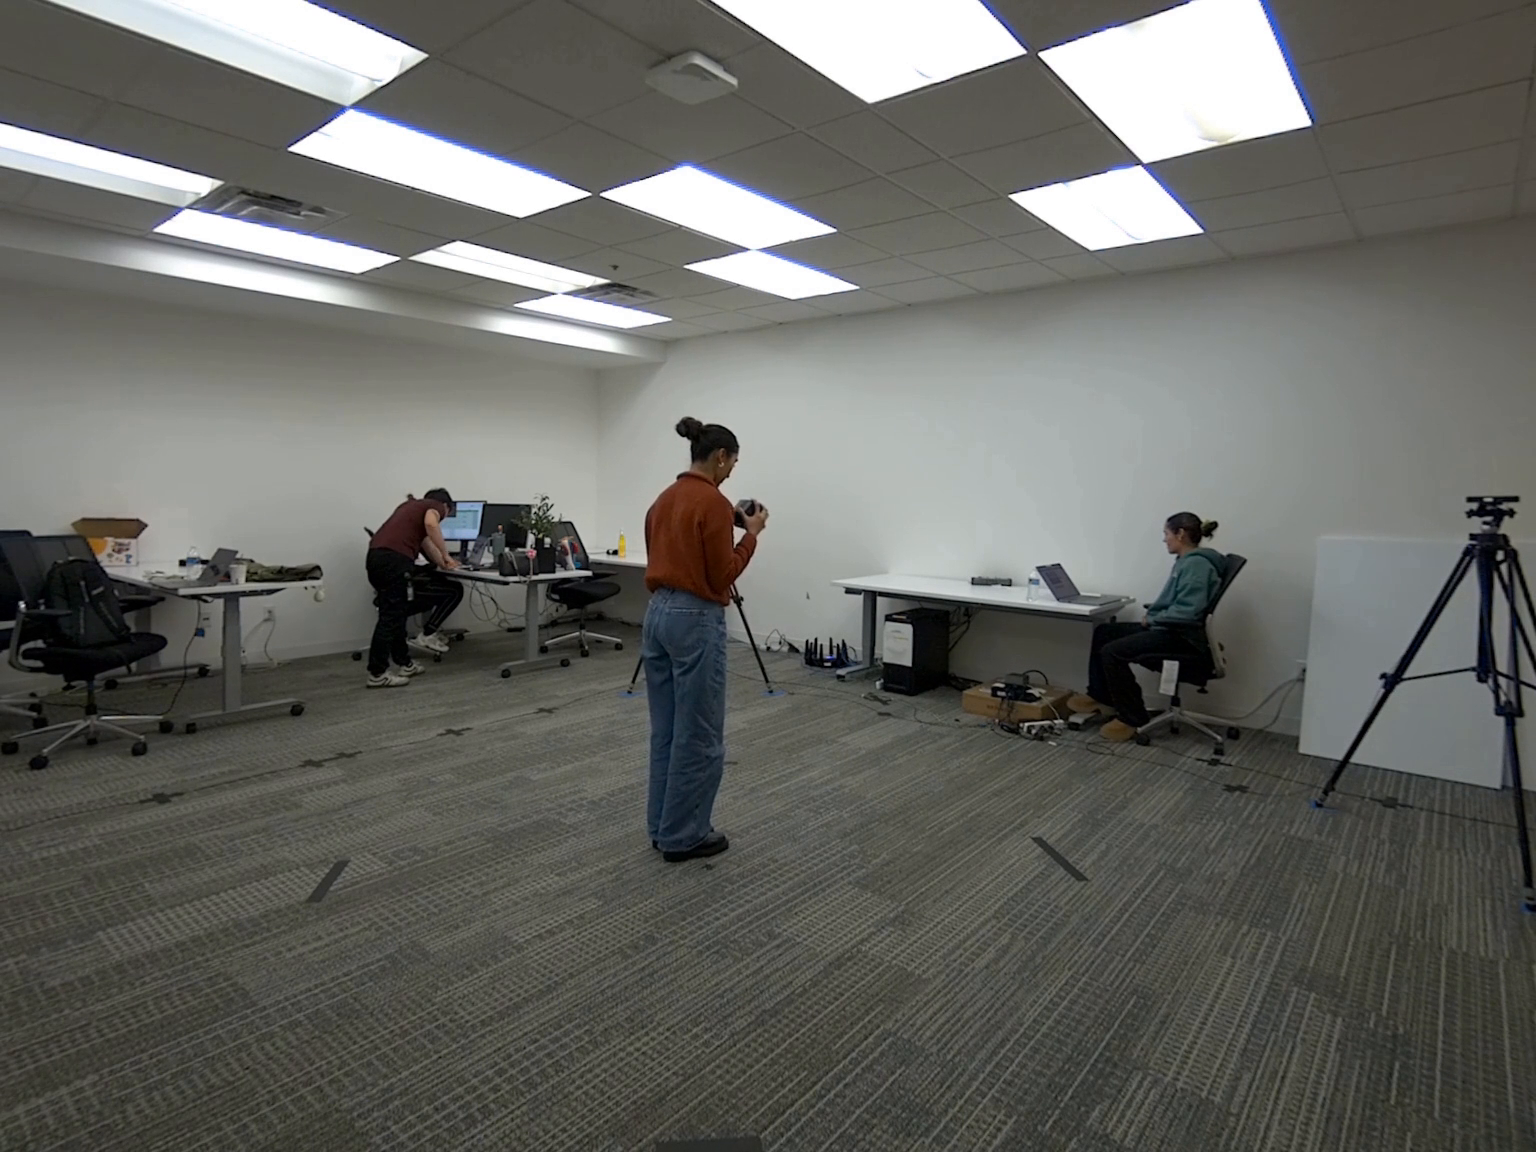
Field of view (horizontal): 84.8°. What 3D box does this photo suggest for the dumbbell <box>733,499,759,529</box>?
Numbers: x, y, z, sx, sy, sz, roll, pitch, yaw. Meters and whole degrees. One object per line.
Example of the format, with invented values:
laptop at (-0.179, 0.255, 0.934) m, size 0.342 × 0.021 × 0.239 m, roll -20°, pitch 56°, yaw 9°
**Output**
dumbbell at (-0.160, -0.230, 3.355) m, size 0.303 × 0.105 × 0.123 m, roll 3°, pitch 47°, yaw 51°
